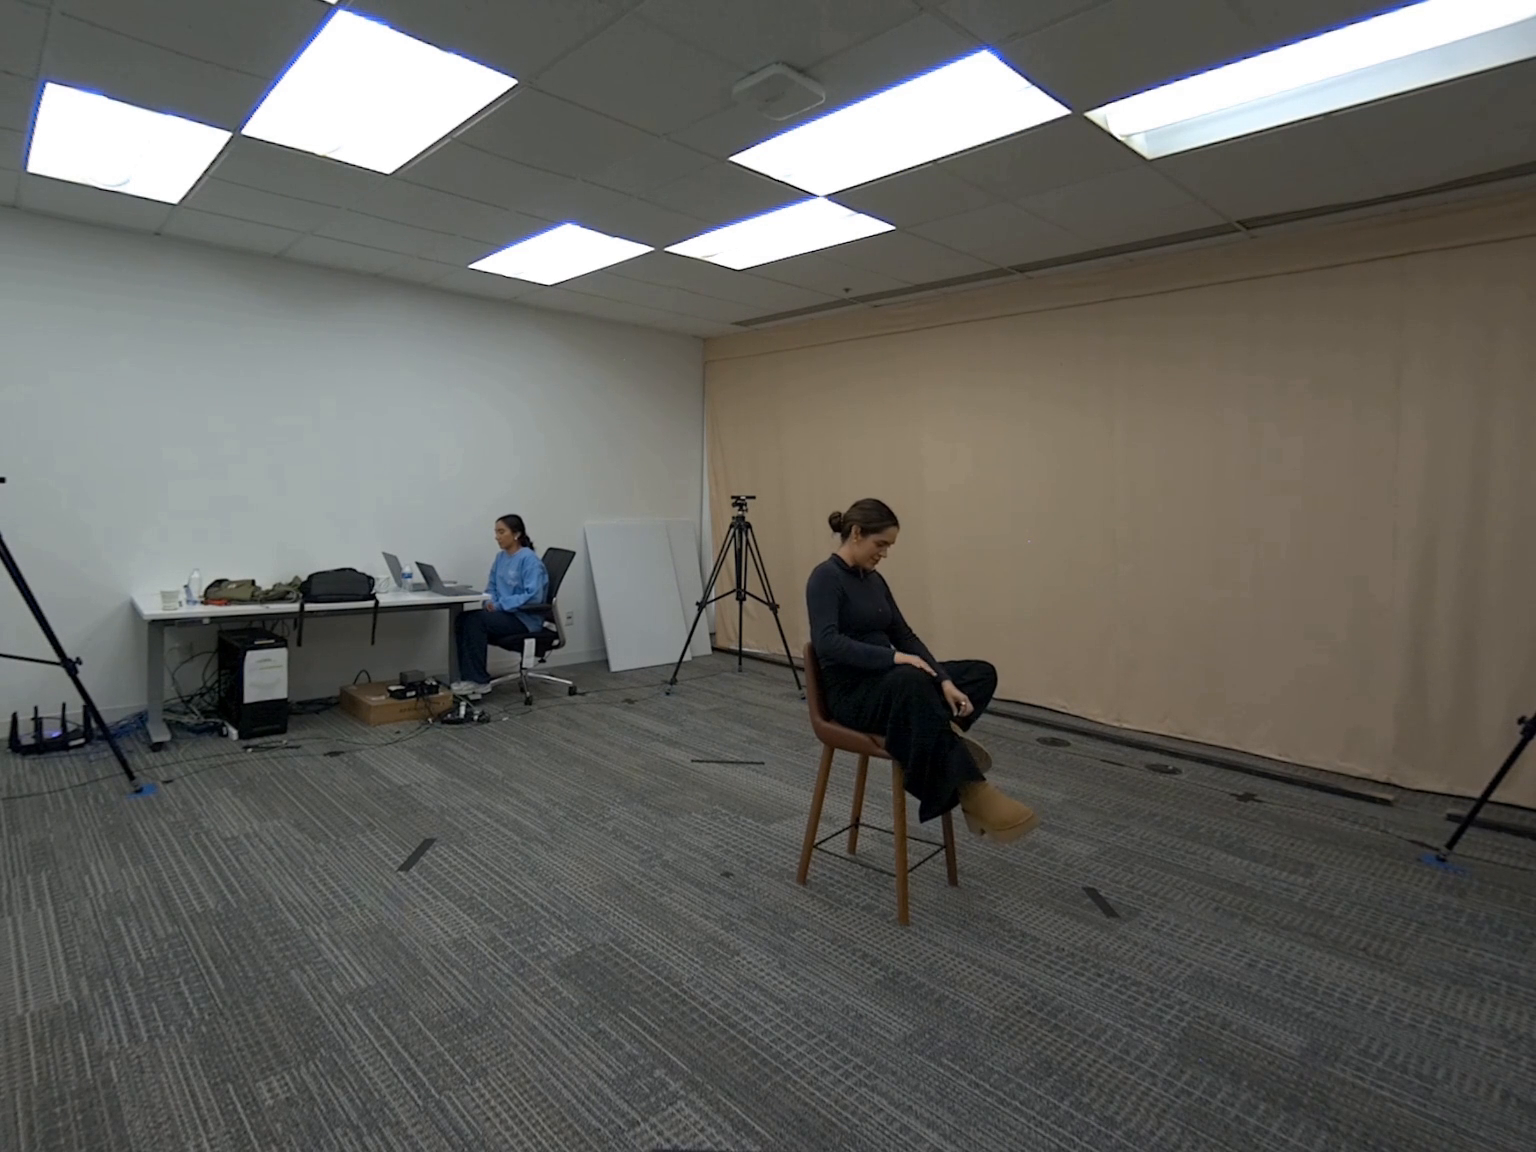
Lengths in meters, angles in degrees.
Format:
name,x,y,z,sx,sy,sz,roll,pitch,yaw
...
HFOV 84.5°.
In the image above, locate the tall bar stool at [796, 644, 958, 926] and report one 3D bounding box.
name,x,y,z,sx,sy,sz,roll,pitch,yaw
tall bar stool,0.395,0.689,3.034,0.479,0.888,0.446,2,2,39
